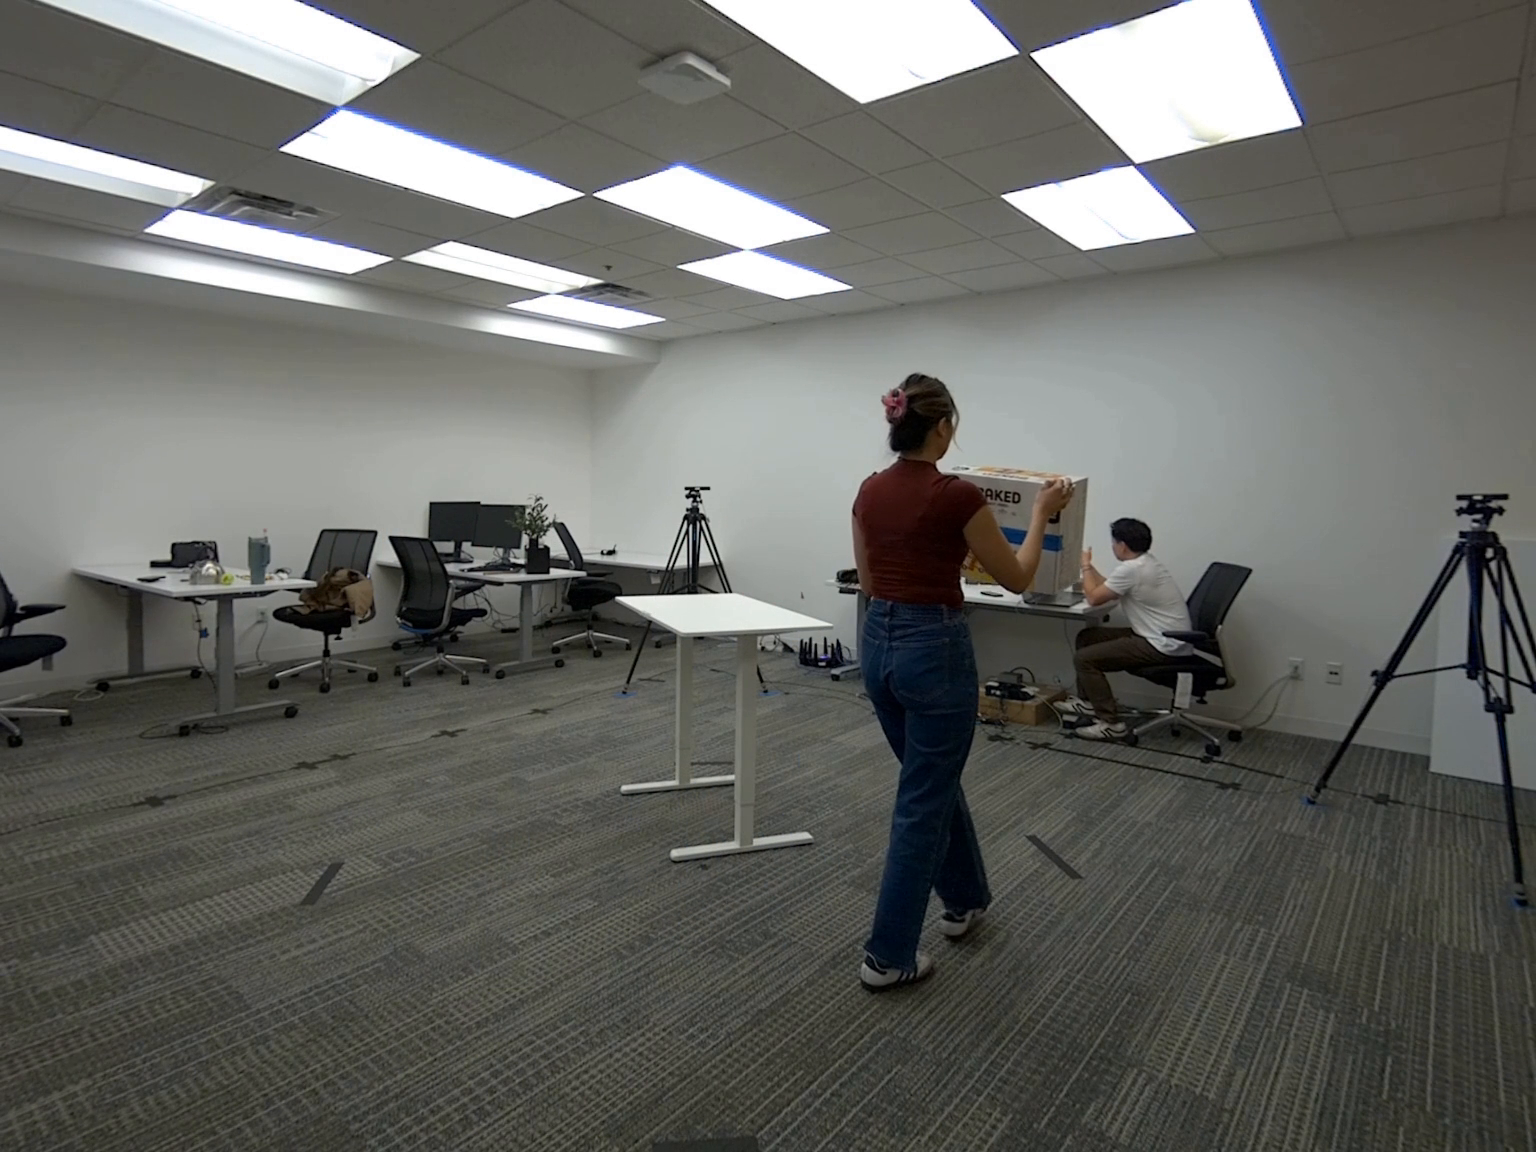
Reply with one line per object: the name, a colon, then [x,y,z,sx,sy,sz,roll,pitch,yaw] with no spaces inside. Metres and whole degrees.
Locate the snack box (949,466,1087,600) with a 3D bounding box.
snack box: [0.768,-0.164,2.730,0.420,0.335,0.201,14,20,40]
